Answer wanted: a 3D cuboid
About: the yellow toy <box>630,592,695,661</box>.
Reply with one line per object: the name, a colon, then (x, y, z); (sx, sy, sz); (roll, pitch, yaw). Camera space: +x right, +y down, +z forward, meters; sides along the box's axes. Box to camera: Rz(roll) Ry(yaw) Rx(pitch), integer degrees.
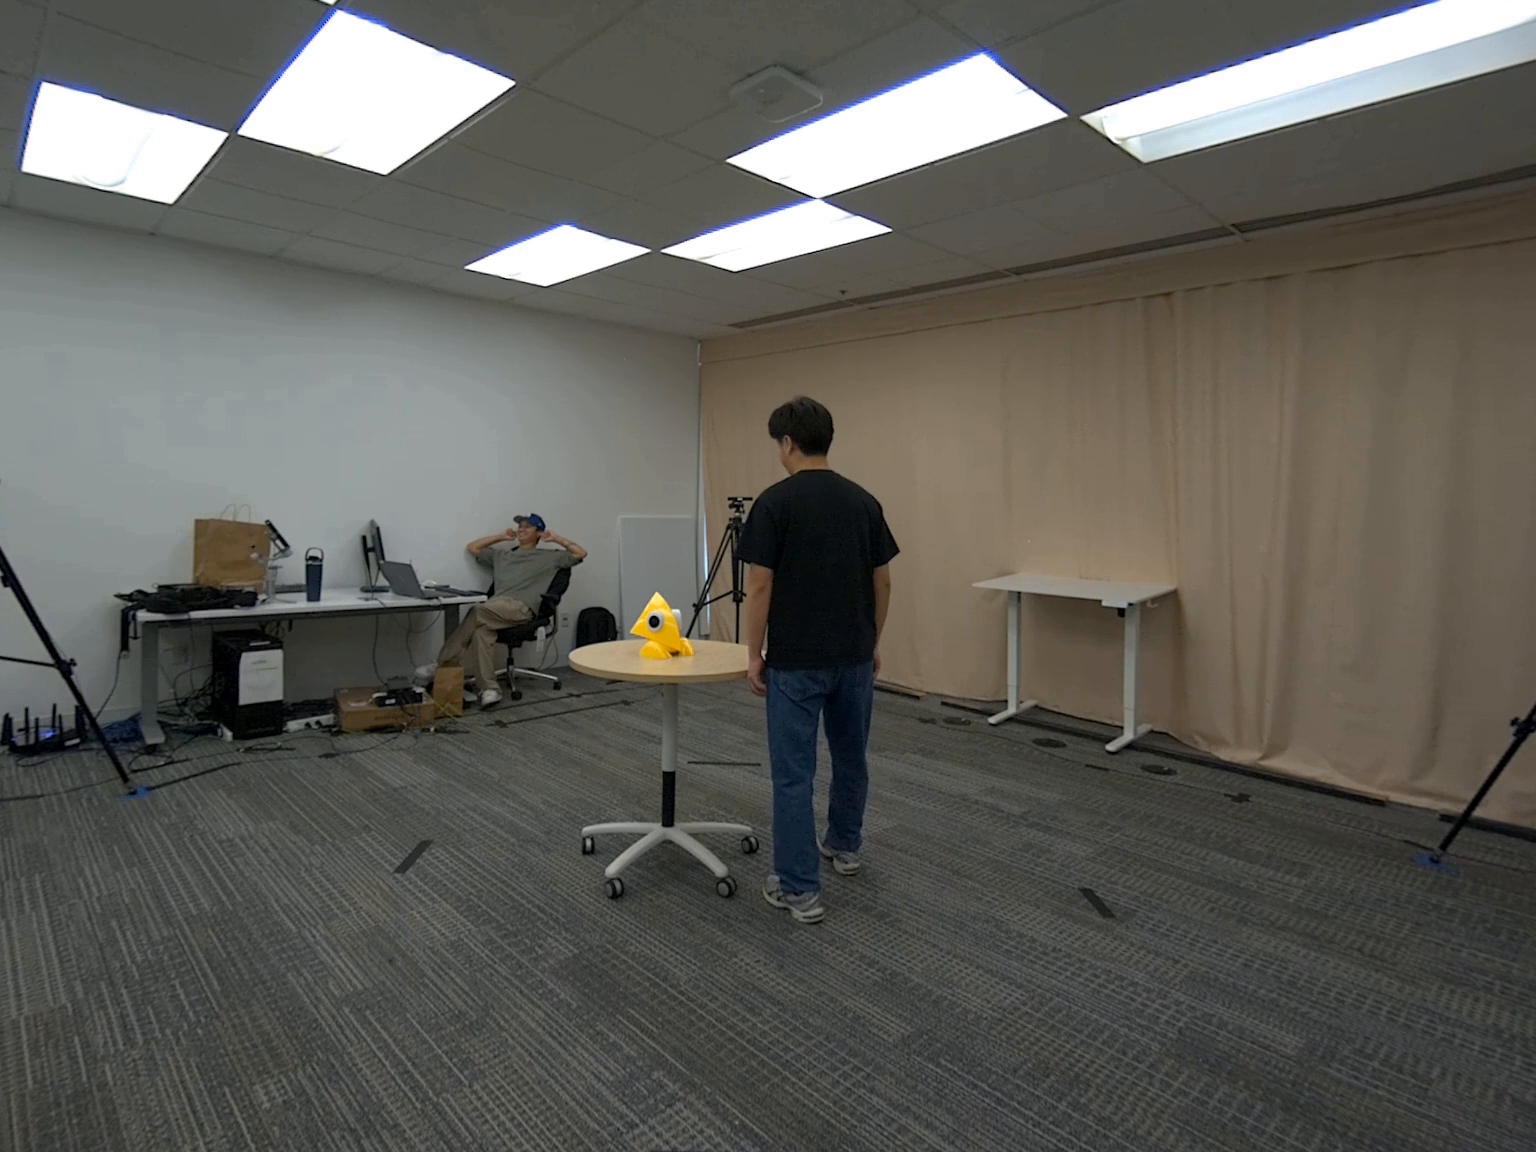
yellow toy: (-0.401, 0.182, 3.203); (0.200, 0.230, 0.198); (-2, 5, -43)
